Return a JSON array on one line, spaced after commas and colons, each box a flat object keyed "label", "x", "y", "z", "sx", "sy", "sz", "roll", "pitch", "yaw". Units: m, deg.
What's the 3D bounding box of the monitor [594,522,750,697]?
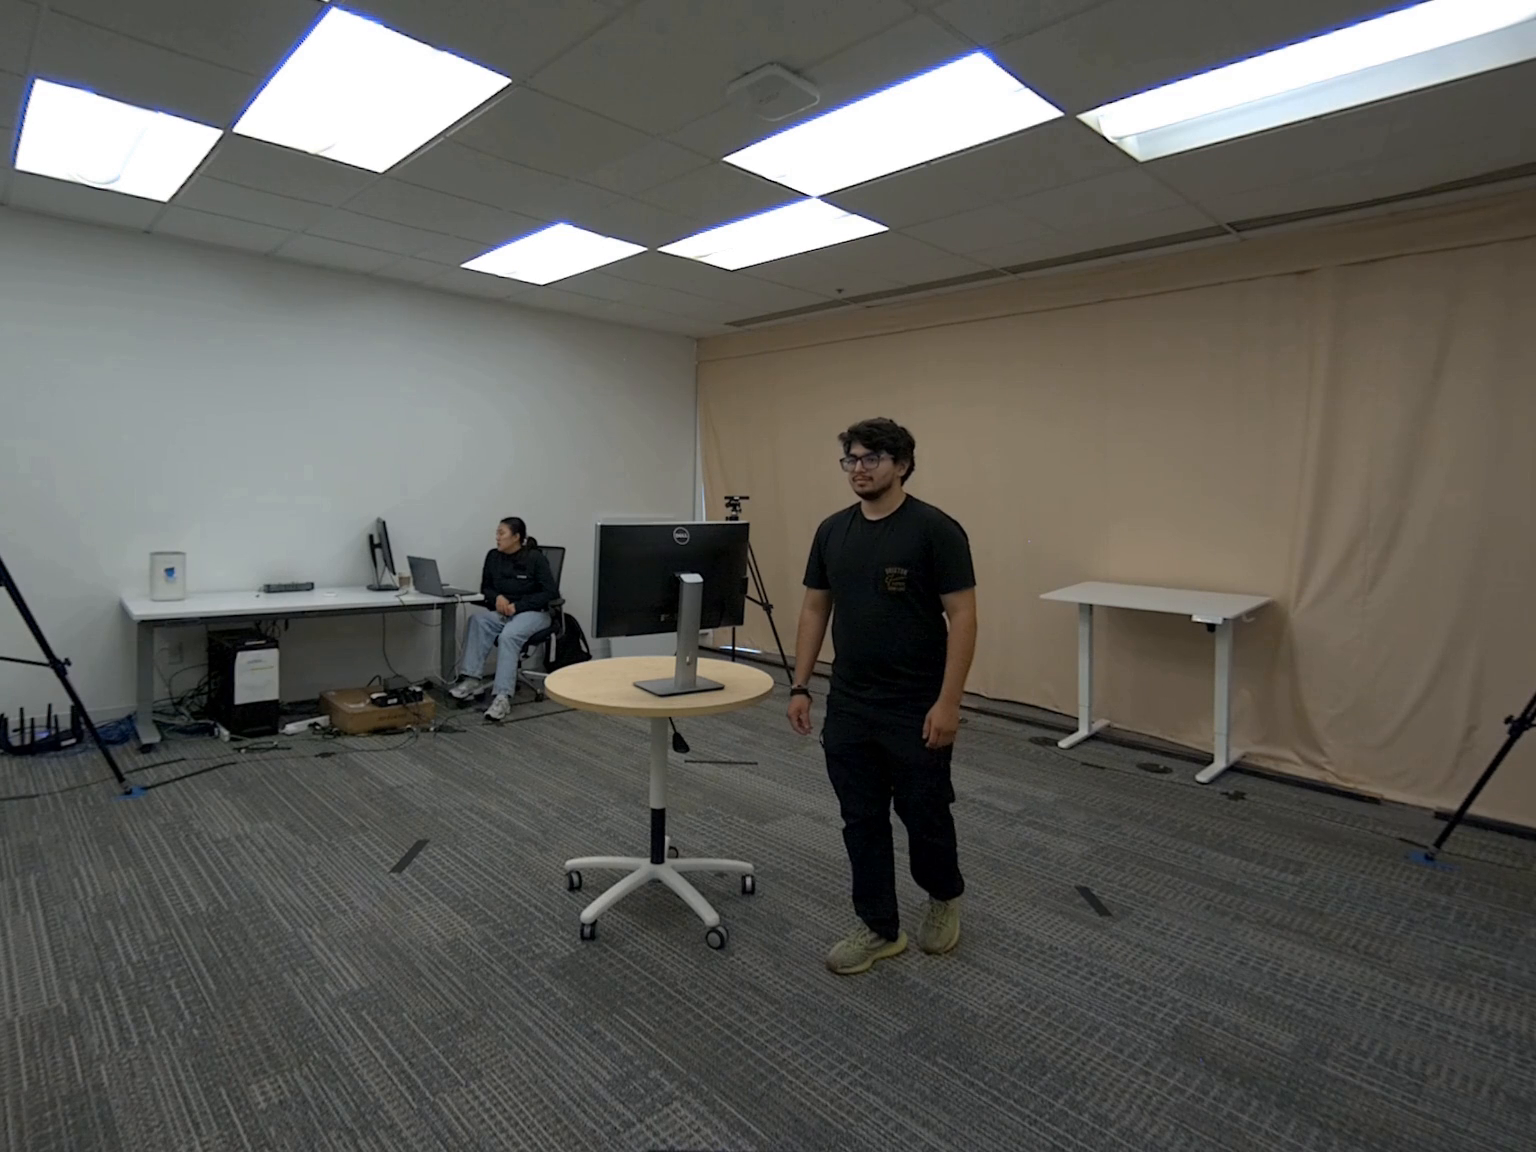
[{"label": "monitor", "x": -0.275, "y": 0.103, "z": 2.691, "sx": 0.553, "sy": 0.552, "sz": 0.215, "roll": -2, "pitch": 7, "yaw": -34}]
